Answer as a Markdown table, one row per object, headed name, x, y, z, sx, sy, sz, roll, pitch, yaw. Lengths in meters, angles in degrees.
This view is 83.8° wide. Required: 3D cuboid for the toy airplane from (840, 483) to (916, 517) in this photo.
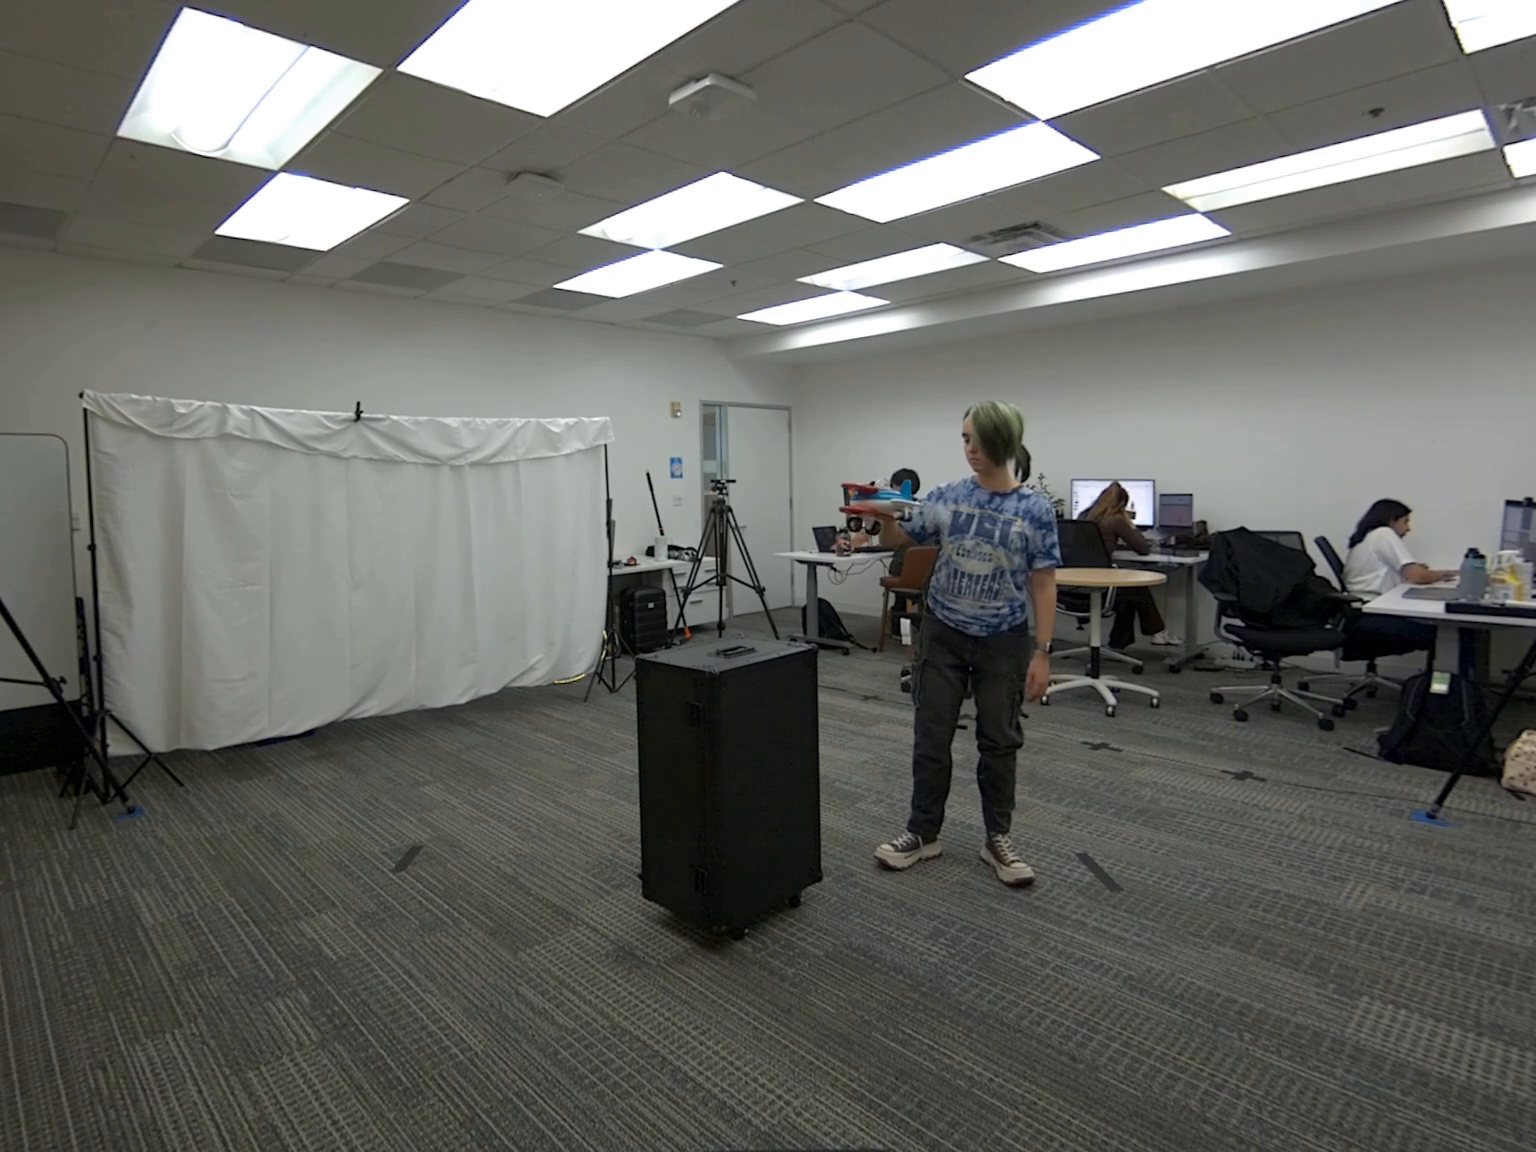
| name | x | y | z | sx | sy | sz | roll | pitch | yaw |
| --- | --- | --- | --- | --- | --- | --- | --- | --- | --- |
| toy airplane | 0.388 | -0.228 | 2.807 | 0.264 | 0.158 | 0.243 | -8 | -15 | 25 |
